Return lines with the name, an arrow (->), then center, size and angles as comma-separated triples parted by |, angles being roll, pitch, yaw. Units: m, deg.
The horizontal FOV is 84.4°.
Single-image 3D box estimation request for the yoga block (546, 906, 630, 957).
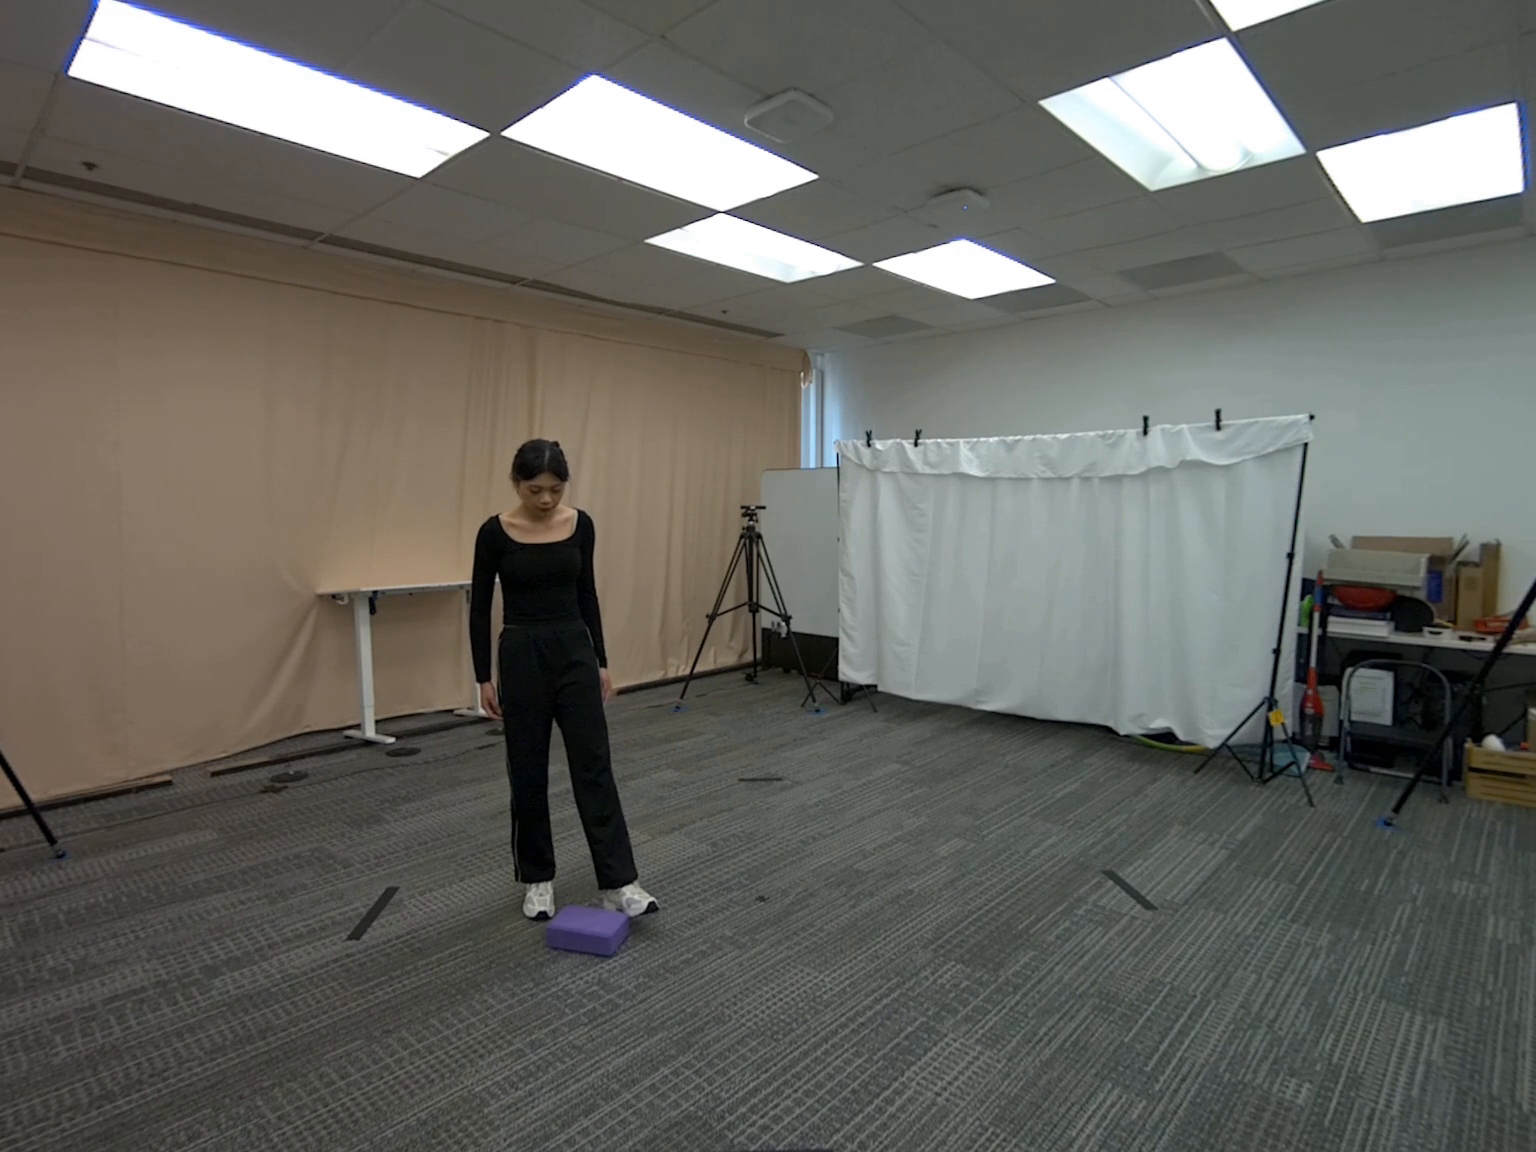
yoga block -> -0.575, 1.127, 2.697 | 0.233, 0.076, 0.147 | 1, 4, 16
